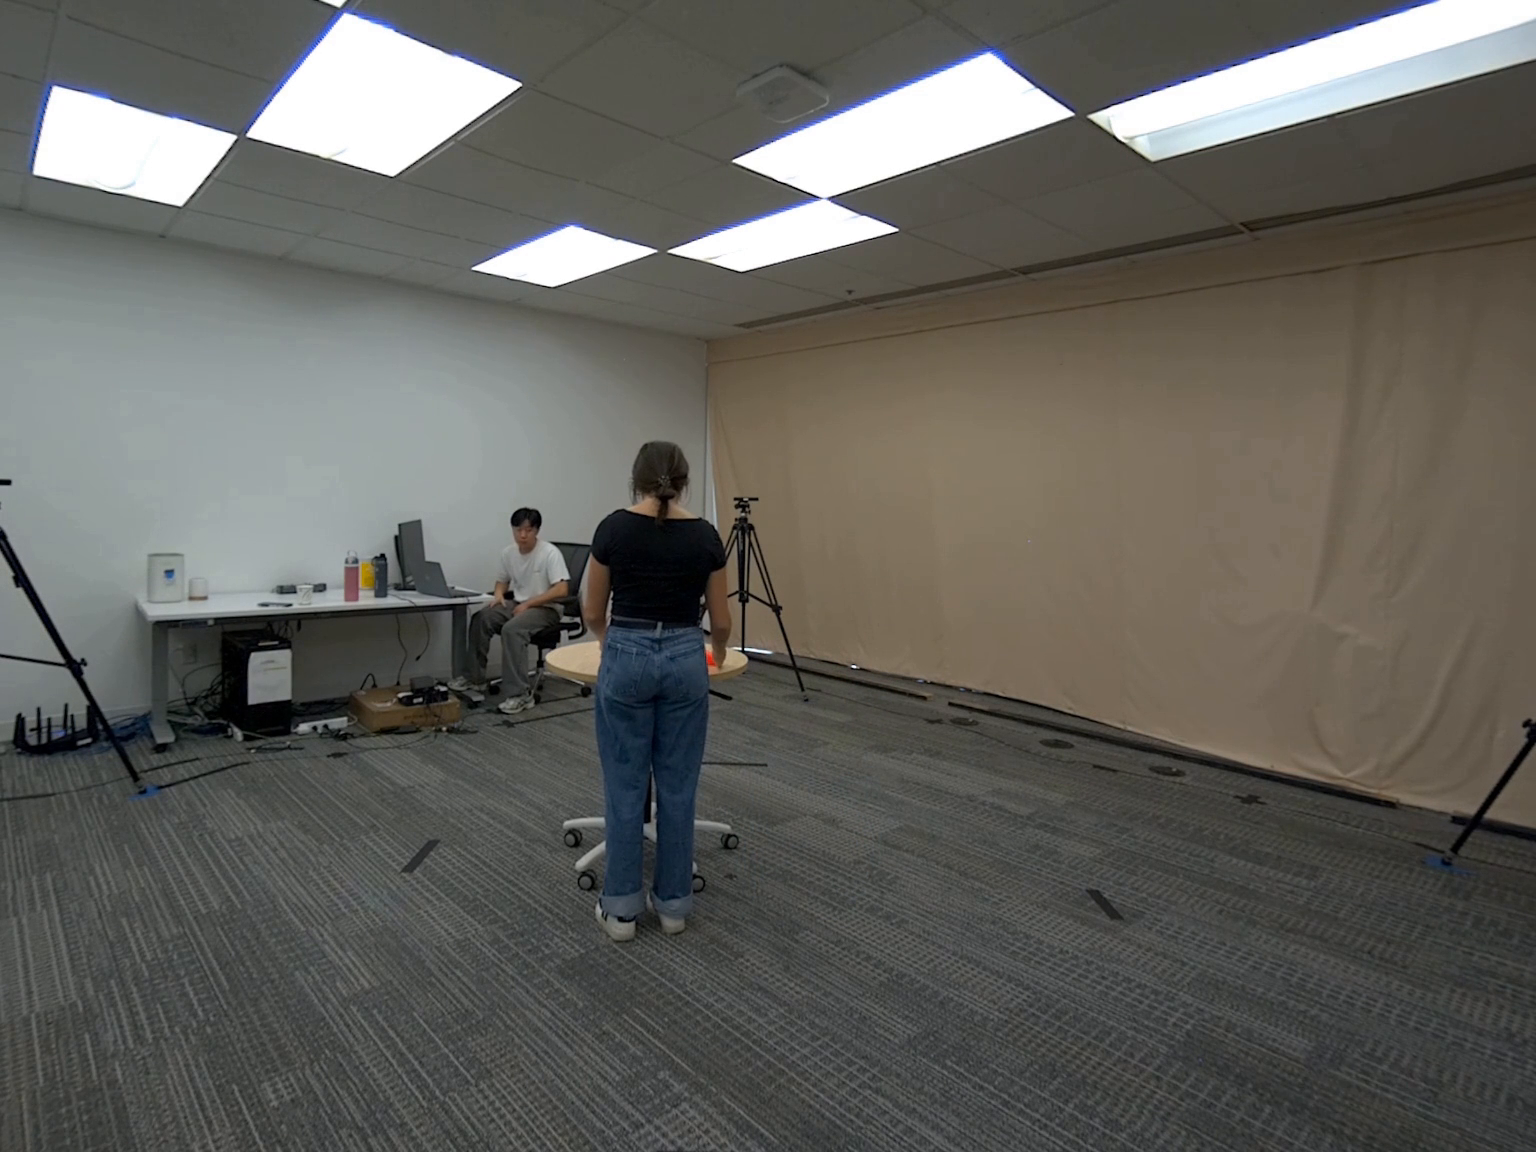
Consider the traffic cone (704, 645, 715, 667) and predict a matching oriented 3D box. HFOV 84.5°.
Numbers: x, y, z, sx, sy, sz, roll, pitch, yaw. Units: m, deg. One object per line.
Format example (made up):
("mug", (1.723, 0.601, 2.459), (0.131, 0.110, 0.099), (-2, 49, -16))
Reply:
("traffic cone", (-0.361, 0.266, 3.100), (0.385, 0.203, 0.204), (13, 1, 3))
